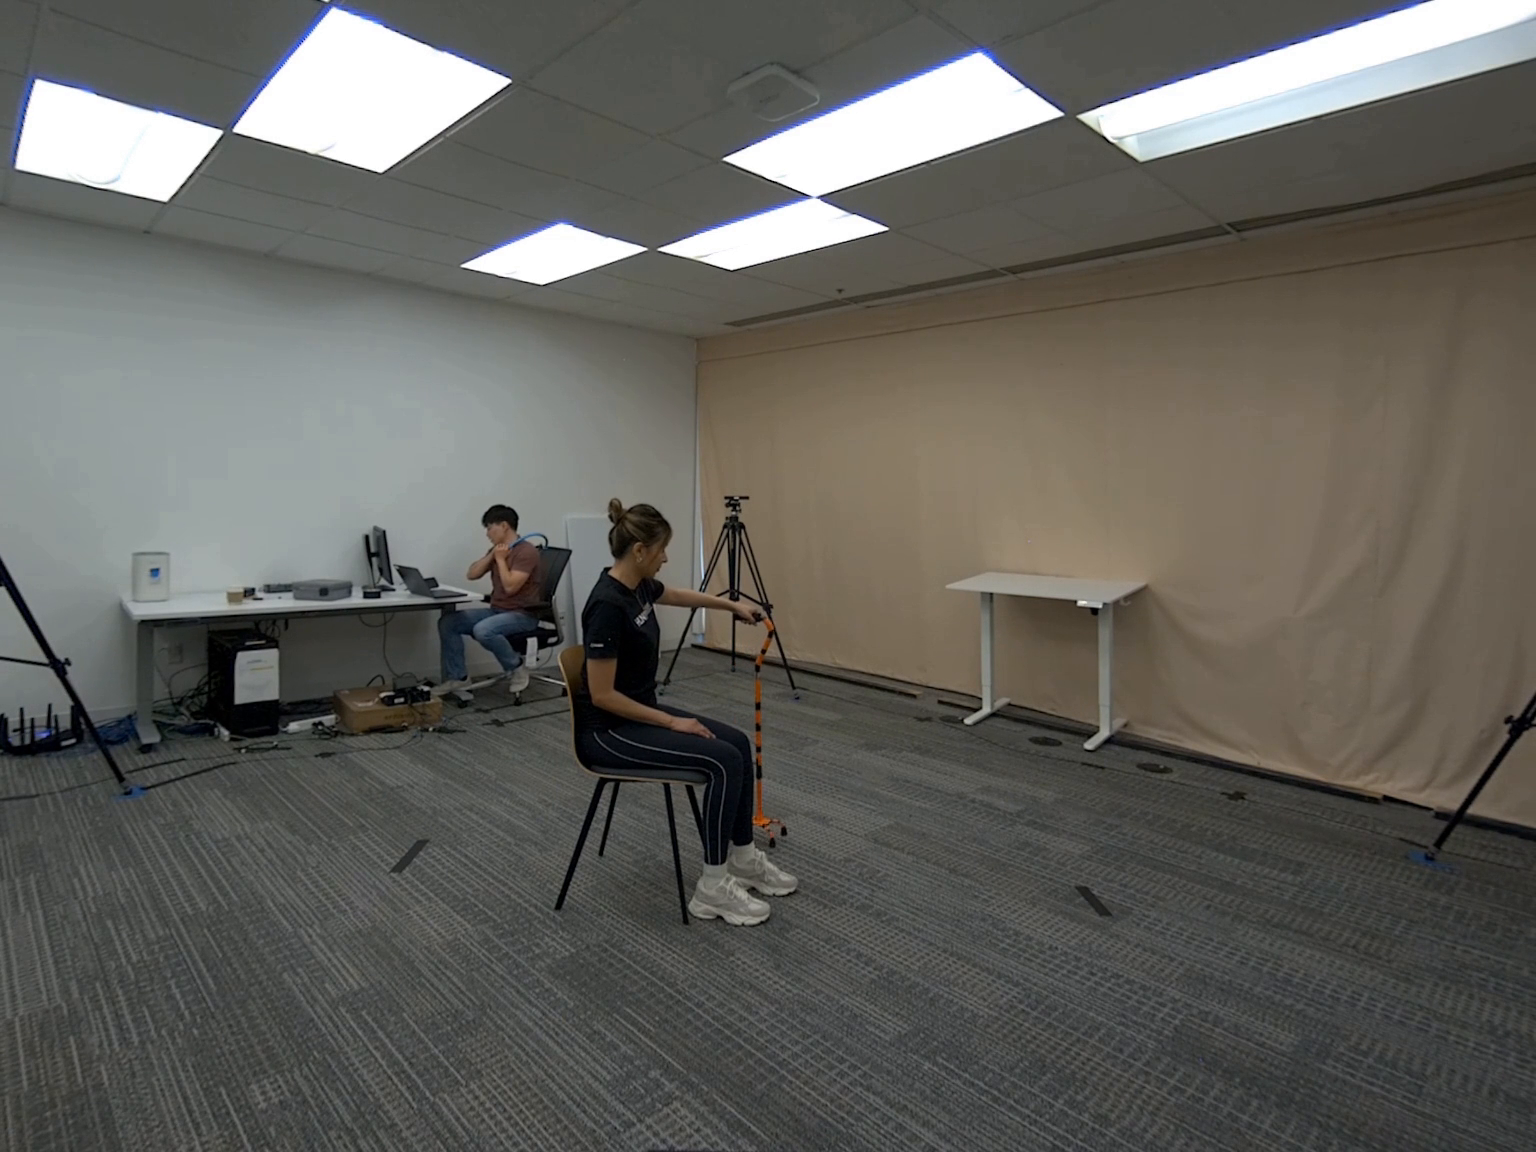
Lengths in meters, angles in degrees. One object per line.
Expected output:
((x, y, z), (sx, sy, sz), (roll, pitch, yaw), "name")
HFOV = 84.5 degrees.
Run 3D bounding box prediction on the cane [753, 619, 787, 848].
((-0.053, 0.603, 3.360), (0.210, 0.905, 0.149), (1, 5, 24), "cane")
